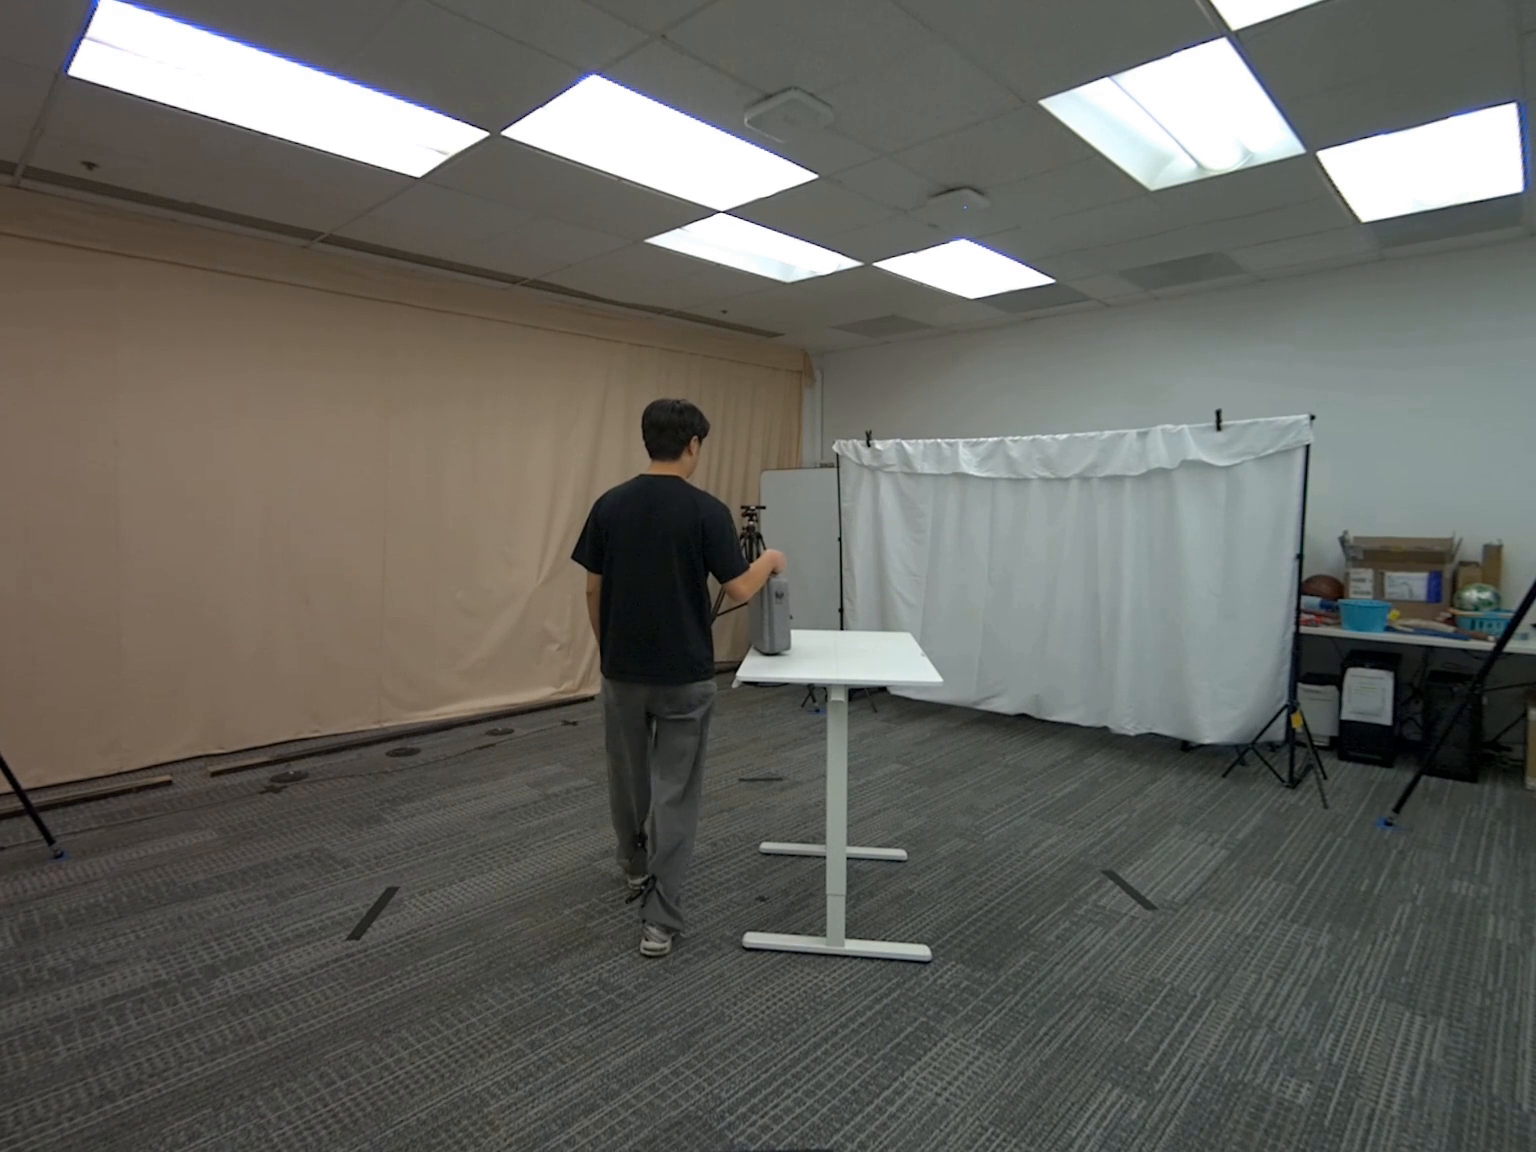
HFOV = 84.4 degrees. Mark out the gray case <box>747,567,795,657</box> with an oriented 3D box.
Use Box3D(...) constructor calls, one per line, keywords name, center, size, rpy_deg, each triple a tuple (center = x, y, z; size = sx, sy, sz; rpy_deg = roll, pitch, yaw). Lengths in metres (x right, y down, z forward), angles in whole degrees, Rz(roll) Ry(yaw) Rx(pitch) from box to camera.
Box3D(name="gray case", center=(0.002, 0.114, 2.931), size=(0.102, 0.287, 0.266), rpy_deg=(-1, 1, -12))
